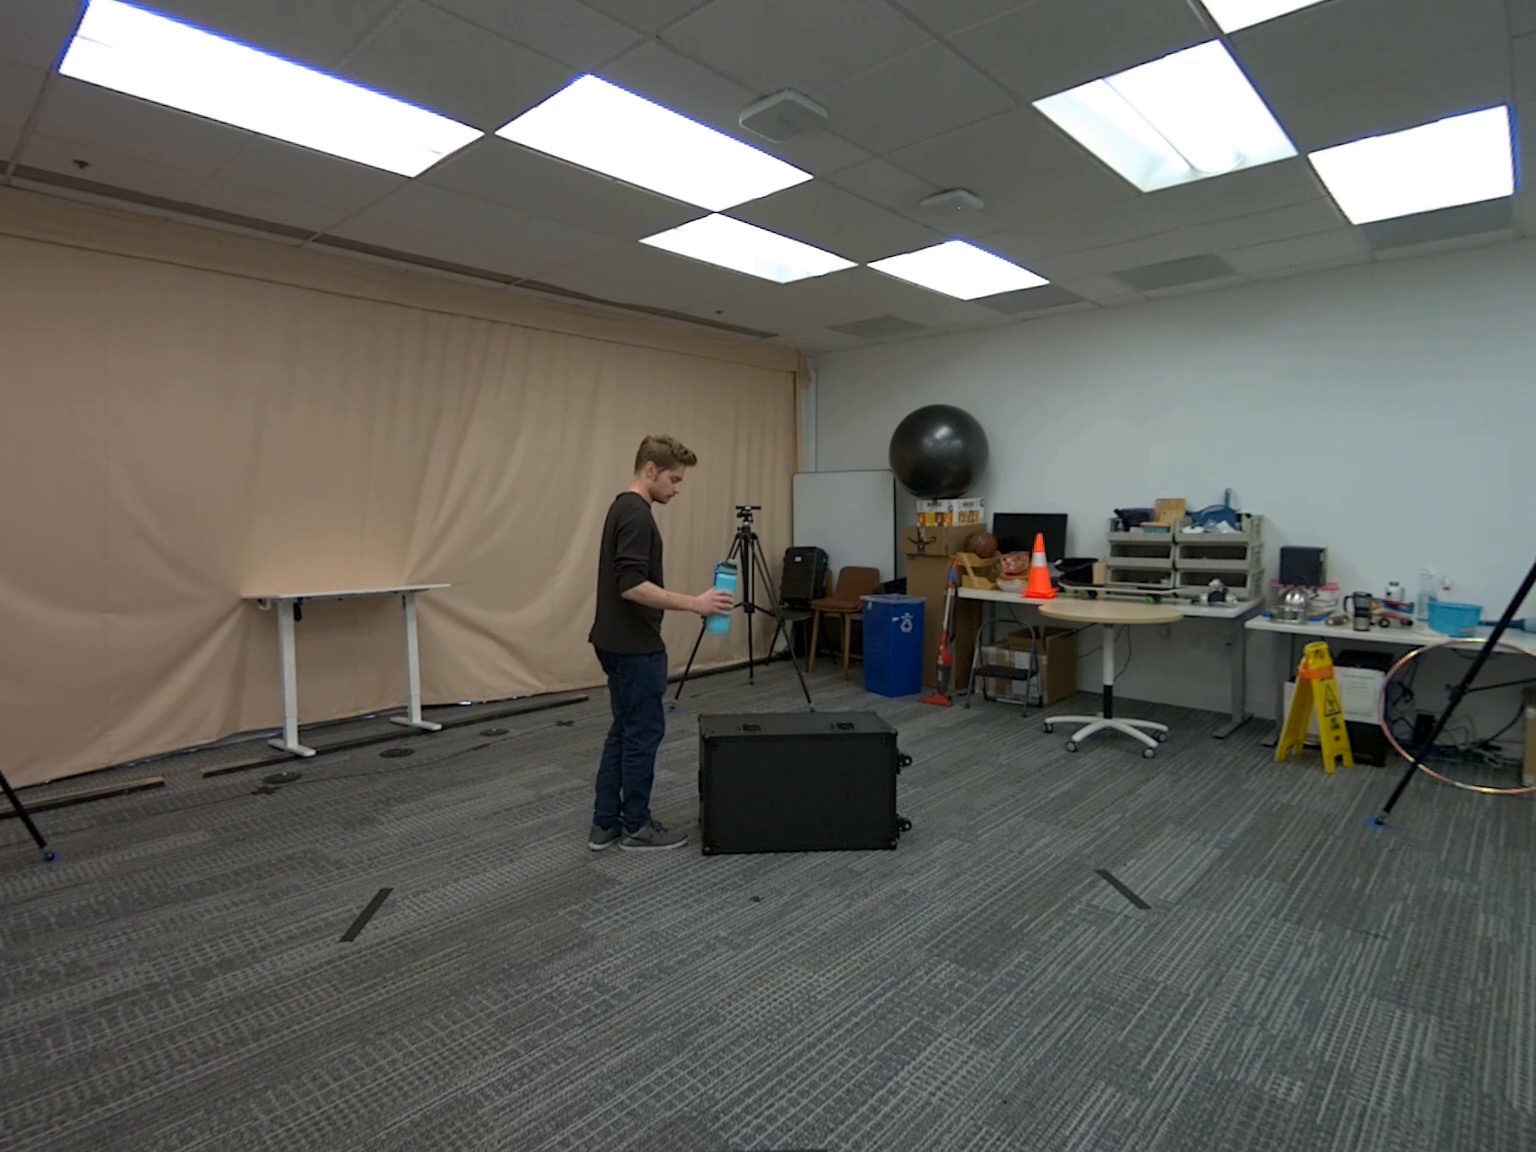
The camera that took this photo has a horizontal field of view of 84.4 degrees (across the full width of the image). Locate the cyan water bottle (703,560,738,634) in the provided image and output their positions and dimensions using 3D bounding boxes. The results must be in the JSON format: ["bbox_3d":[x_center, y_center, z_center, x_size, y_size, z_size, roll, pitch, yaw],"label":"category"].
[{"bbox_3d":[-0.177,0.076,3.273,0.092,0.283,0.093,11,5,-3],"label":"cyan water bottle"}]
